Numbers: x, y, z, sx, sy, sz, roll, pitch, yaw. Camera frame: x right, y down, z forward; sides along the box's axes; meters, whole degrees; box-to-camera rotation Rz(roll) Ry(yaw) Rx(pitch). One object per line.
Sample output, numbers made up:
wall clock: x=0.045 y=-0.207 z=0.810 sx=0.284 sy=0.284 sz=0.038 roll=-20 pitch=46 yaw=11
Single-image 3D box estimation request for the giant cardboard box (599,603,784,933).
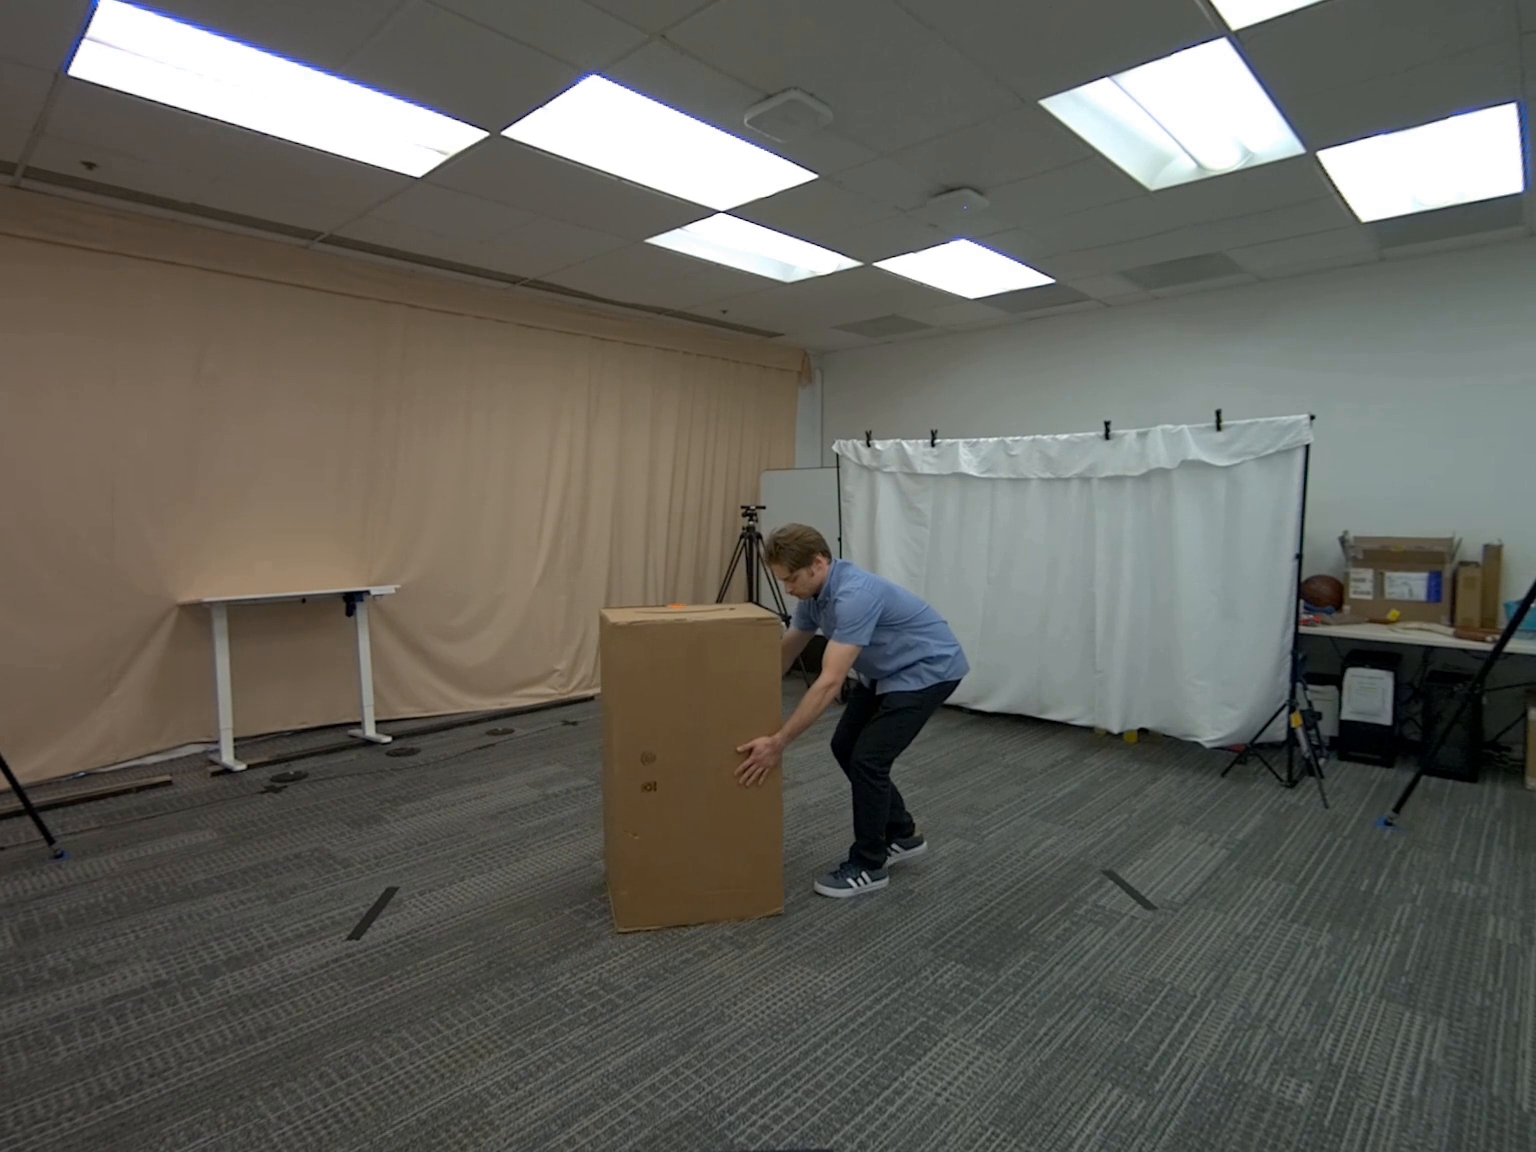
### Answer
giant cardboard box: x=-0.281 y=0.639 z=2.986 sx=0.570 sy=1.024 sz=0.433 roll=-1 pitch=3 yaw=-13
